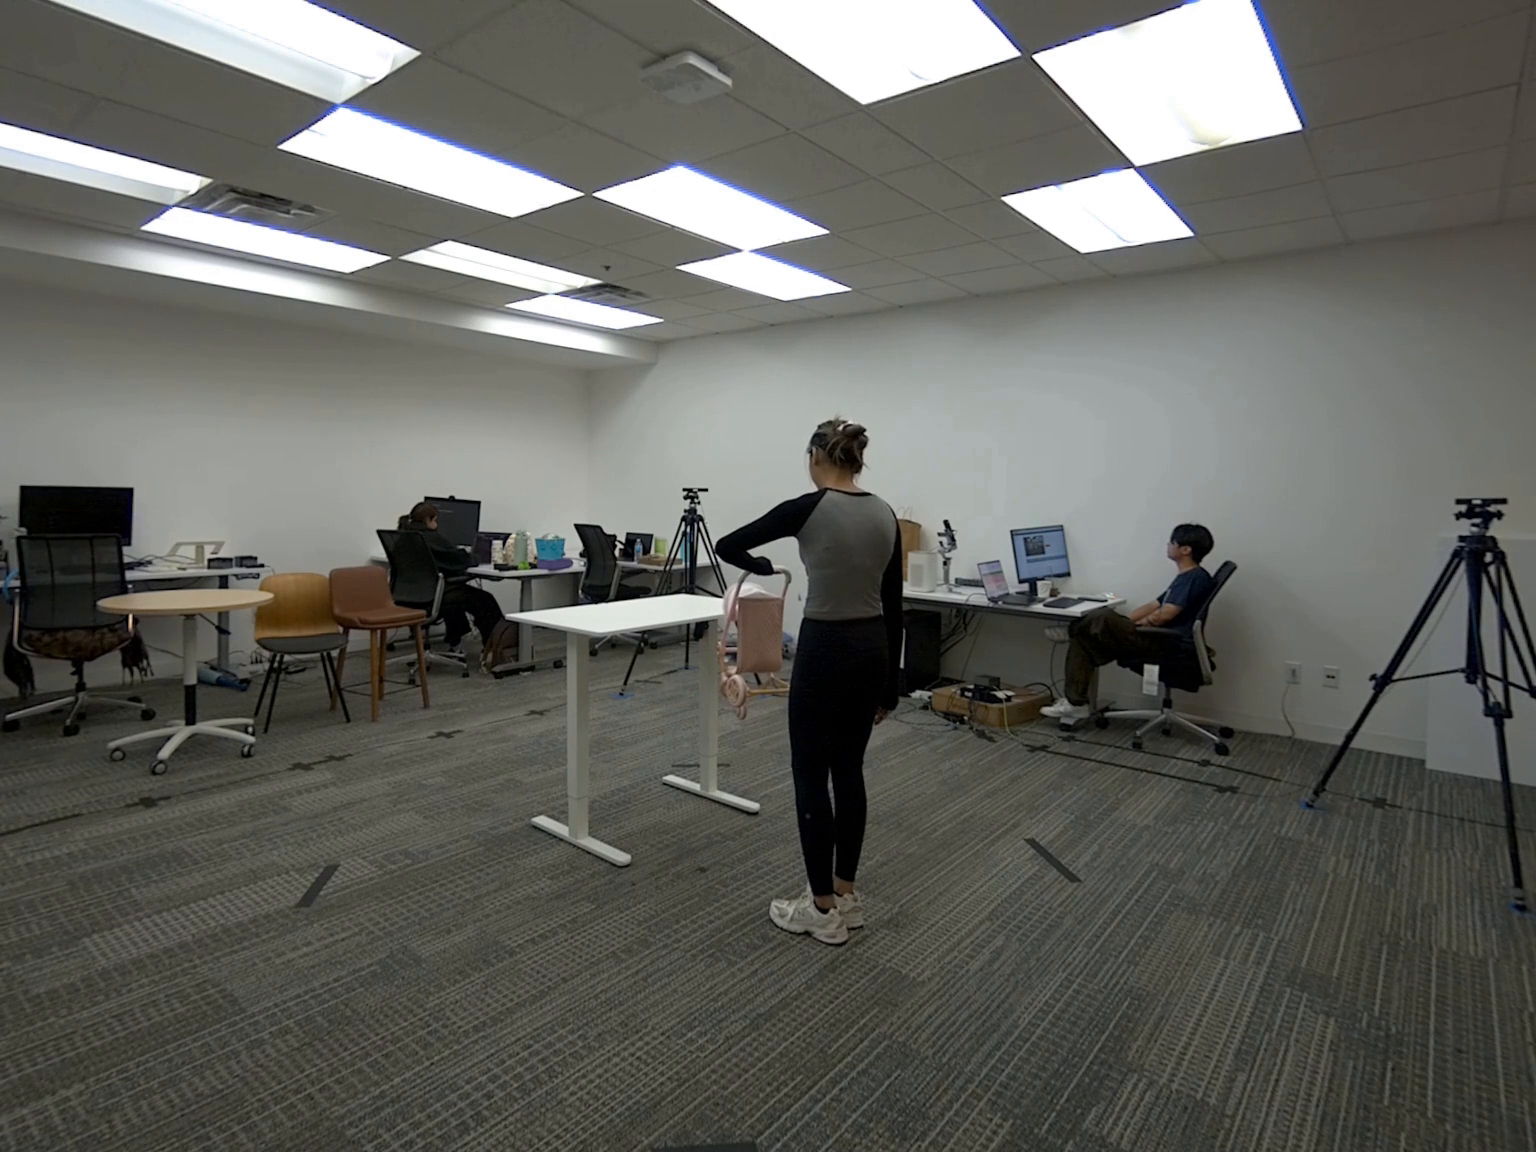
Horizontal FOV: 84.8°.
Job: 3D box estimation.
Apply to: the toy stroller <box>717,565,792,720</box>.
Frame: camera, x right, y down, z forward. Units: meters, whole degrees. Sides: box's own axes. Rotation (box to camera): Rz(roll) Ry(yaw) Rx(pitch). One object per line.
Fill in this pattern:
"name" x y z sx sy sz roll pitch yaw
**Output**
"toy stroller" -0.063 0.248 3.070 0.275 0.540 0.346 0 -10 -23
